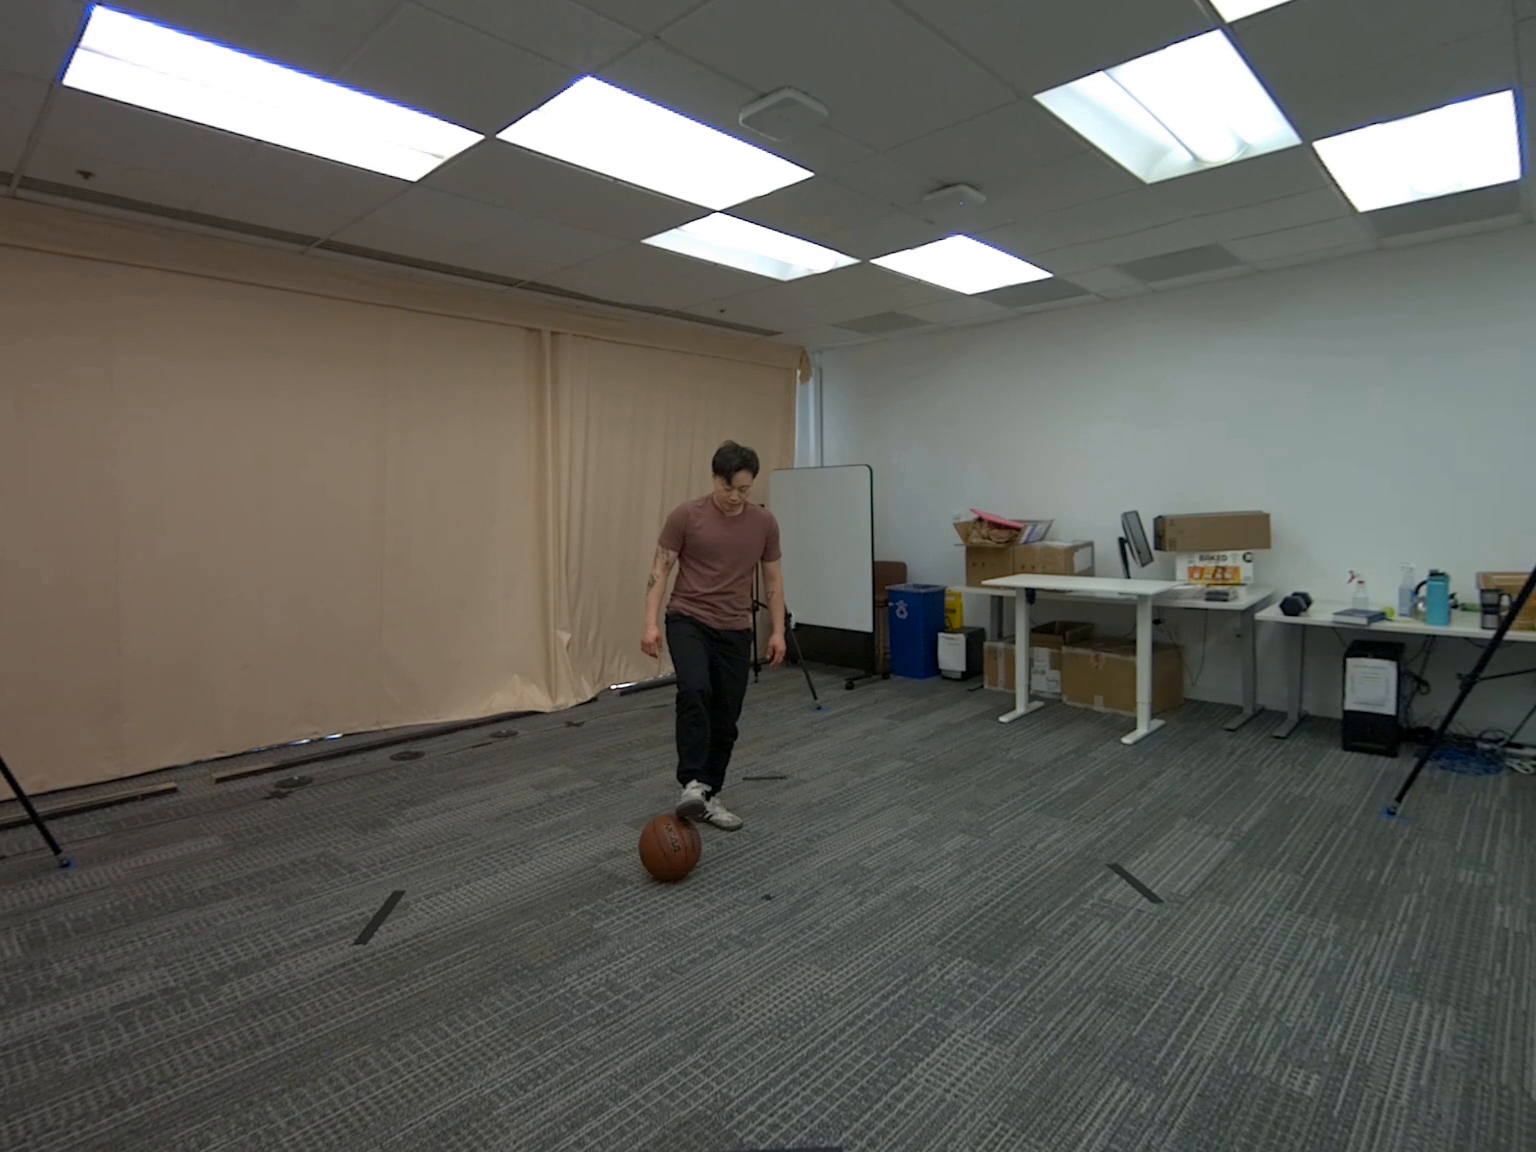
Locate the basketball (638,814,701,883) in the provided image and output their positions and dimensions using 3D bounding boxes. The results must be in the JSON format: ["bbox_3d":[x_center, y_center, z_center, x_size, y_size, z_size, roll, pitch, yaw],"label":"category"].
[{"bbox_3d":[-0.366,1.013,3.164,0.236,0.235,0.237,-1,4,-2],"label":"basketball"}]
